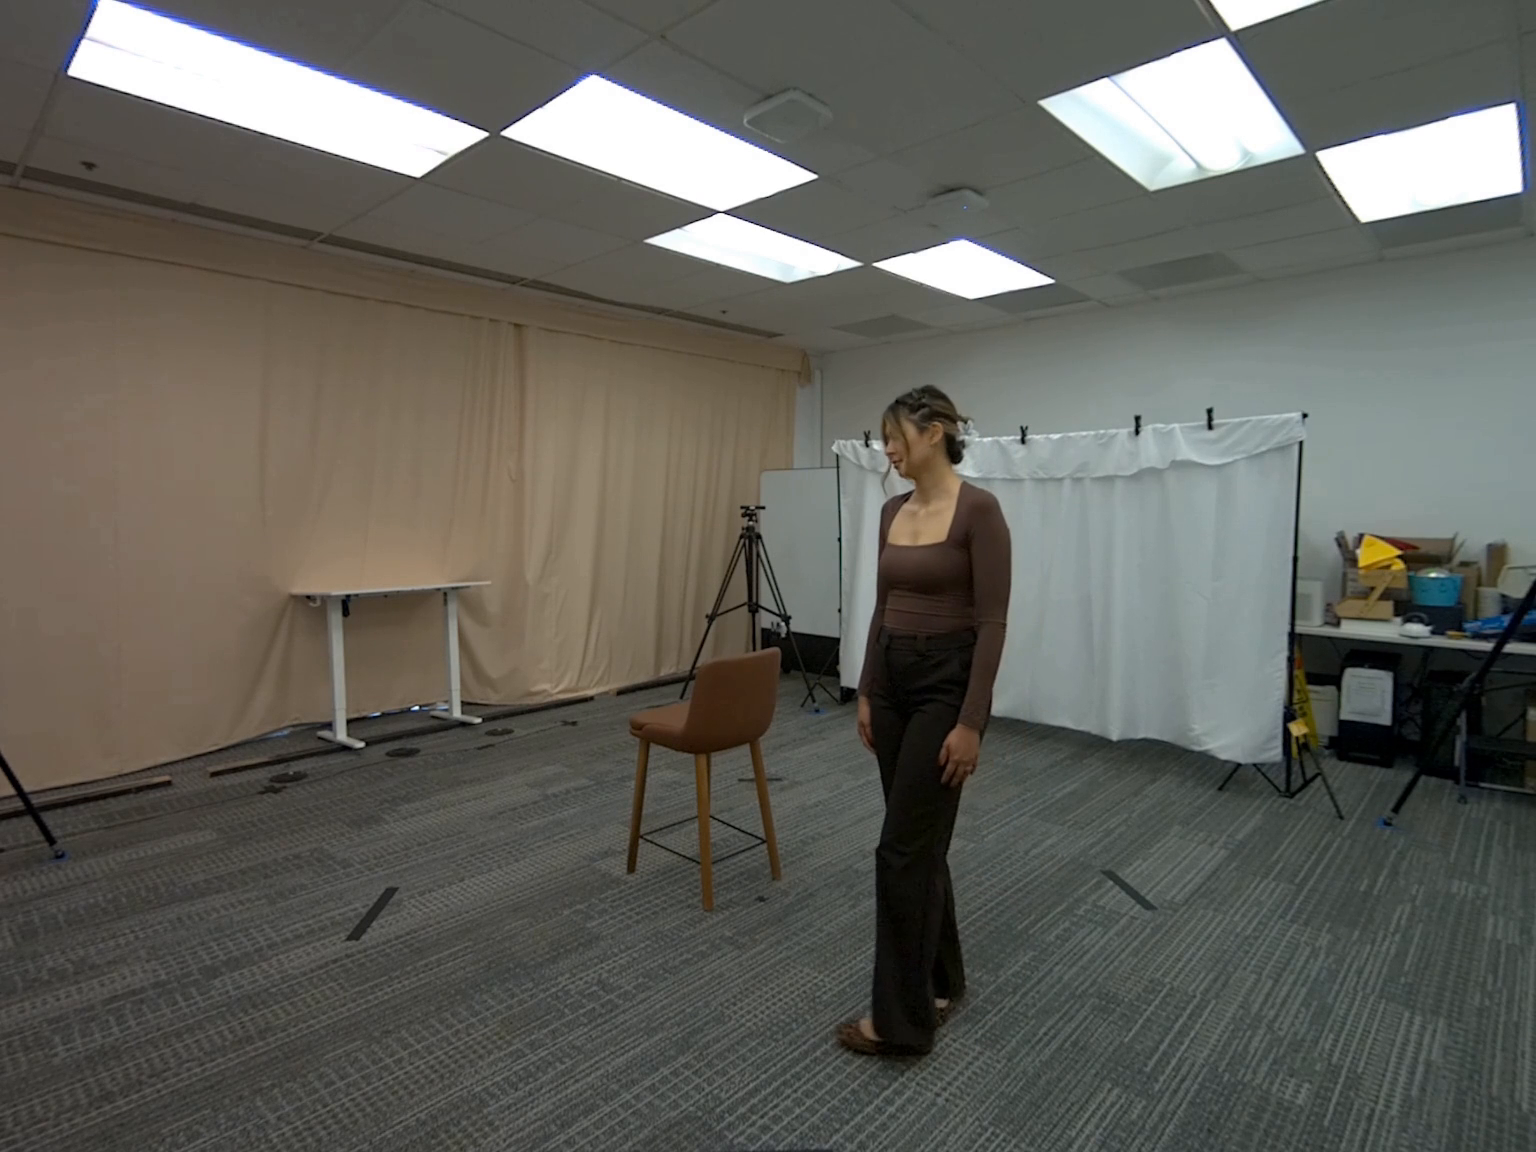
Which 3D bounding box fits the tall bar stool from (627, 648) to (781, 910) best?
[{"bbox_3d":[-0.237,0.697,3.155,0.442,0.887,0.483,-4,6,-45],"label":"tall bar stool"}]
